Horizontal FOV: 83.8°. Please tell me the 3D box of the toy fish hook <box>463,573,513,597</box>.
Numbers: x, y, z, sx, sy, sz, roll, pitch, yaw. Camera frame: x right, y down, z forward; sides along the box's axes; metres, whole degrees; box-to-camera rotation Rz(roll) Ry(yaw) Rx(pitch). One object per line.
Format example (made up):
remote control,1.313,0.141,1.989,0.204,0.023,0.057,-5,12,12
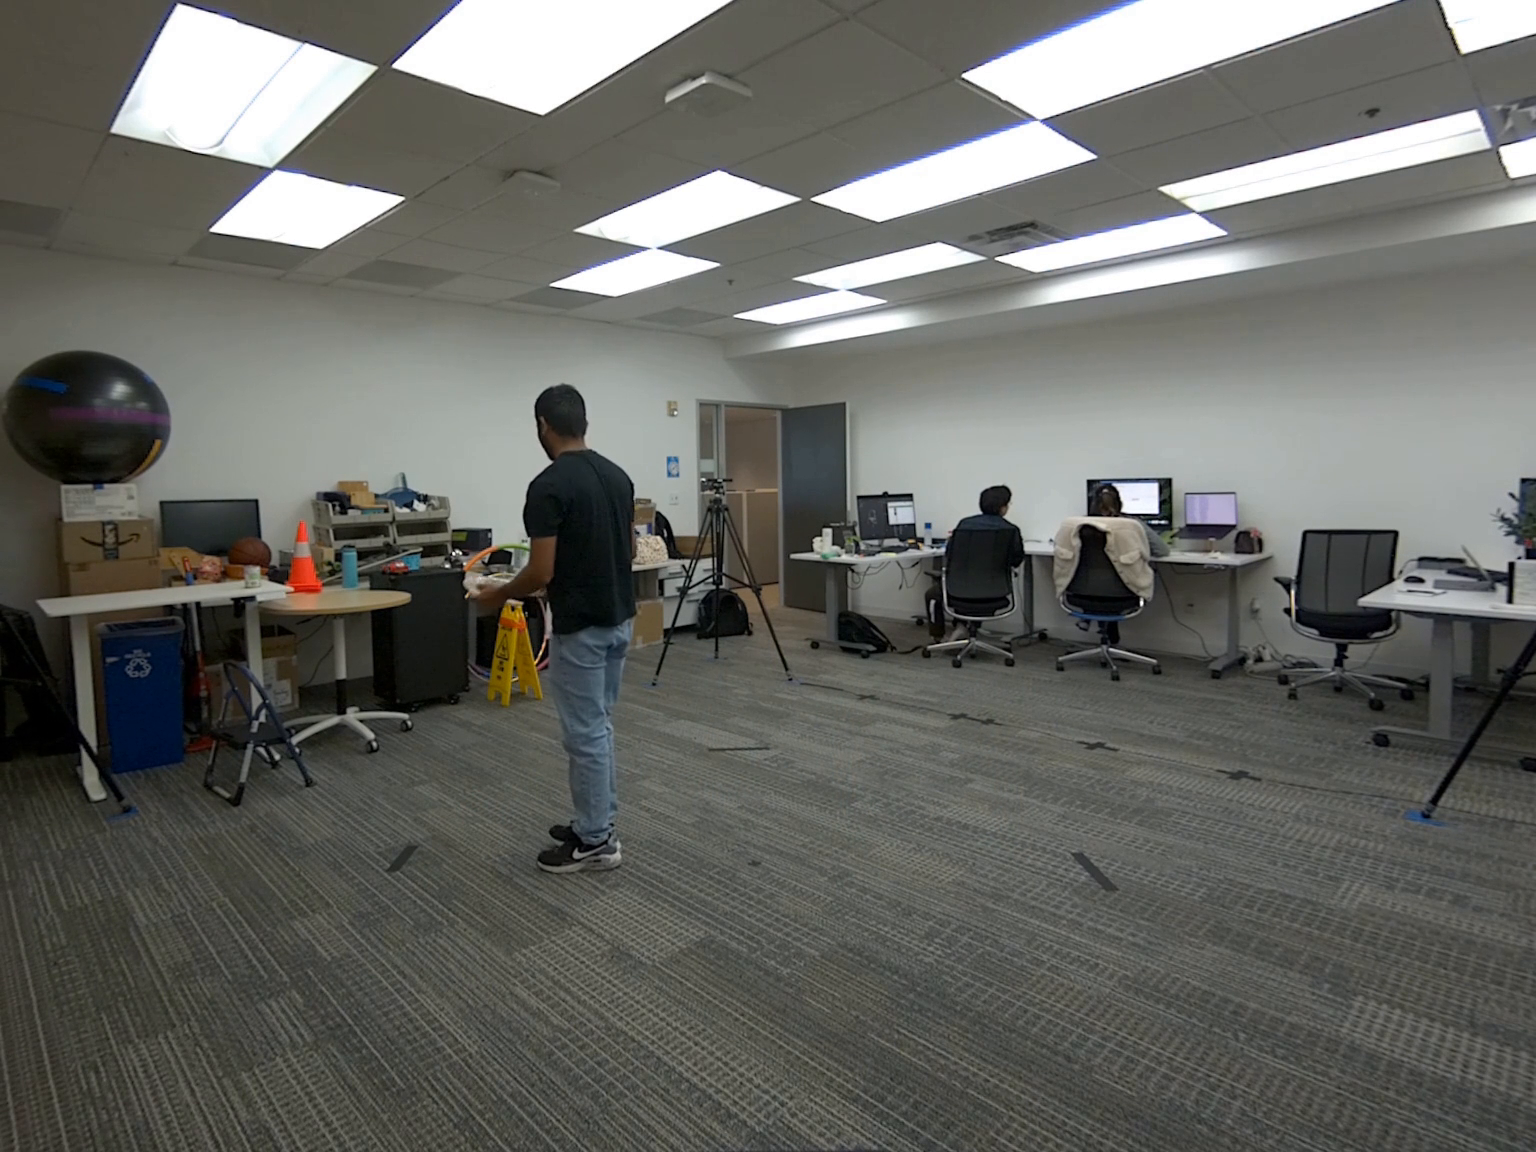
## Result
toy fish hook,-0.887,0.068,3.262,0.490,0.048,0.233,9,15,-41
